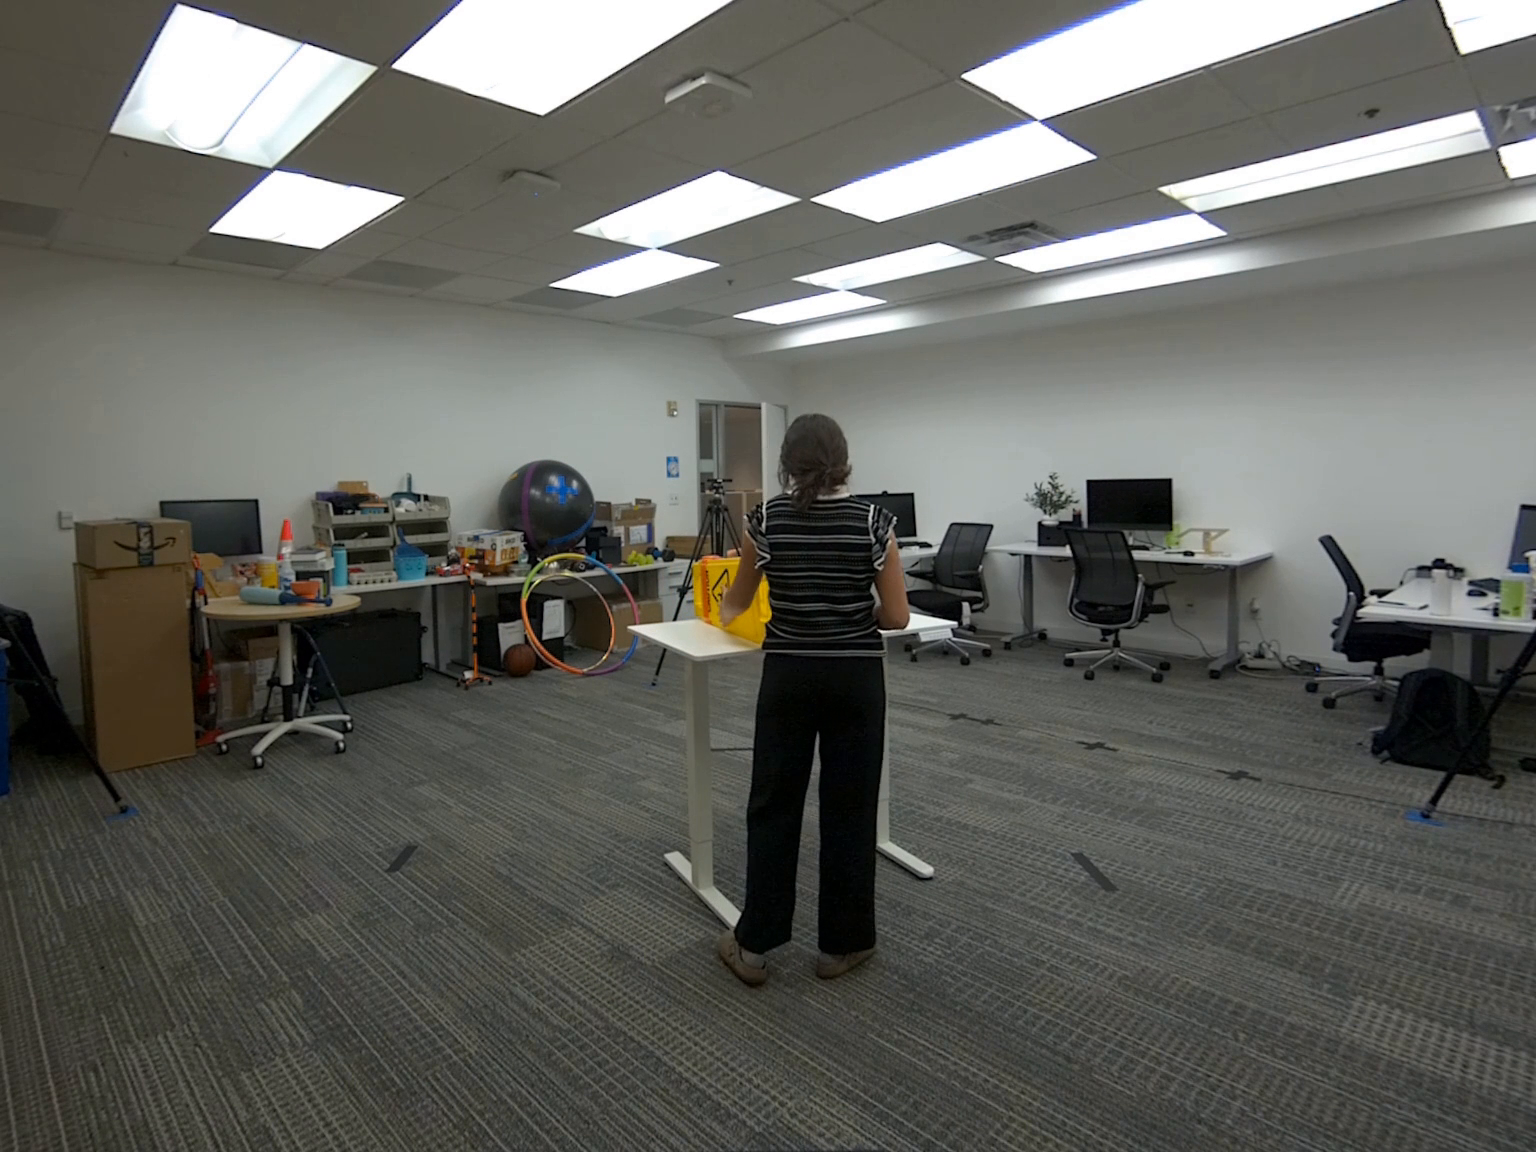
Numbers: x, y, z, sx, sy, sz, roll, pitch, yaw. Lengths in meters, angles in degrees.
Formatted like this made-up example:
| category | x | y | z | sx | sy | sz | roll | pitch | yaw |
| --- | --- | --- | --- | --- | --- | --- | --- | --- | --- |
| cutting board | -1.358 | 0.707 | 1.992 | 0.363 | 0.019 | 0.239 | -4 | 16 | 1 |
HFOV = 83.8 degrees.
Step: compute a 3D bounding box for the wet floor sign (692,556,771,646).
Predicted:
| category | x | y | z | sx | sy | sz | roll | pitch | yaw |
| --- | --- | --- | --- | --- | --- | --- | --- | --- | --- |
| wet floor sign | -0.090 | 0.061 | 2.934 | 0.282 | 0.281 | 0.664 | -5 | 4 | -35 |
